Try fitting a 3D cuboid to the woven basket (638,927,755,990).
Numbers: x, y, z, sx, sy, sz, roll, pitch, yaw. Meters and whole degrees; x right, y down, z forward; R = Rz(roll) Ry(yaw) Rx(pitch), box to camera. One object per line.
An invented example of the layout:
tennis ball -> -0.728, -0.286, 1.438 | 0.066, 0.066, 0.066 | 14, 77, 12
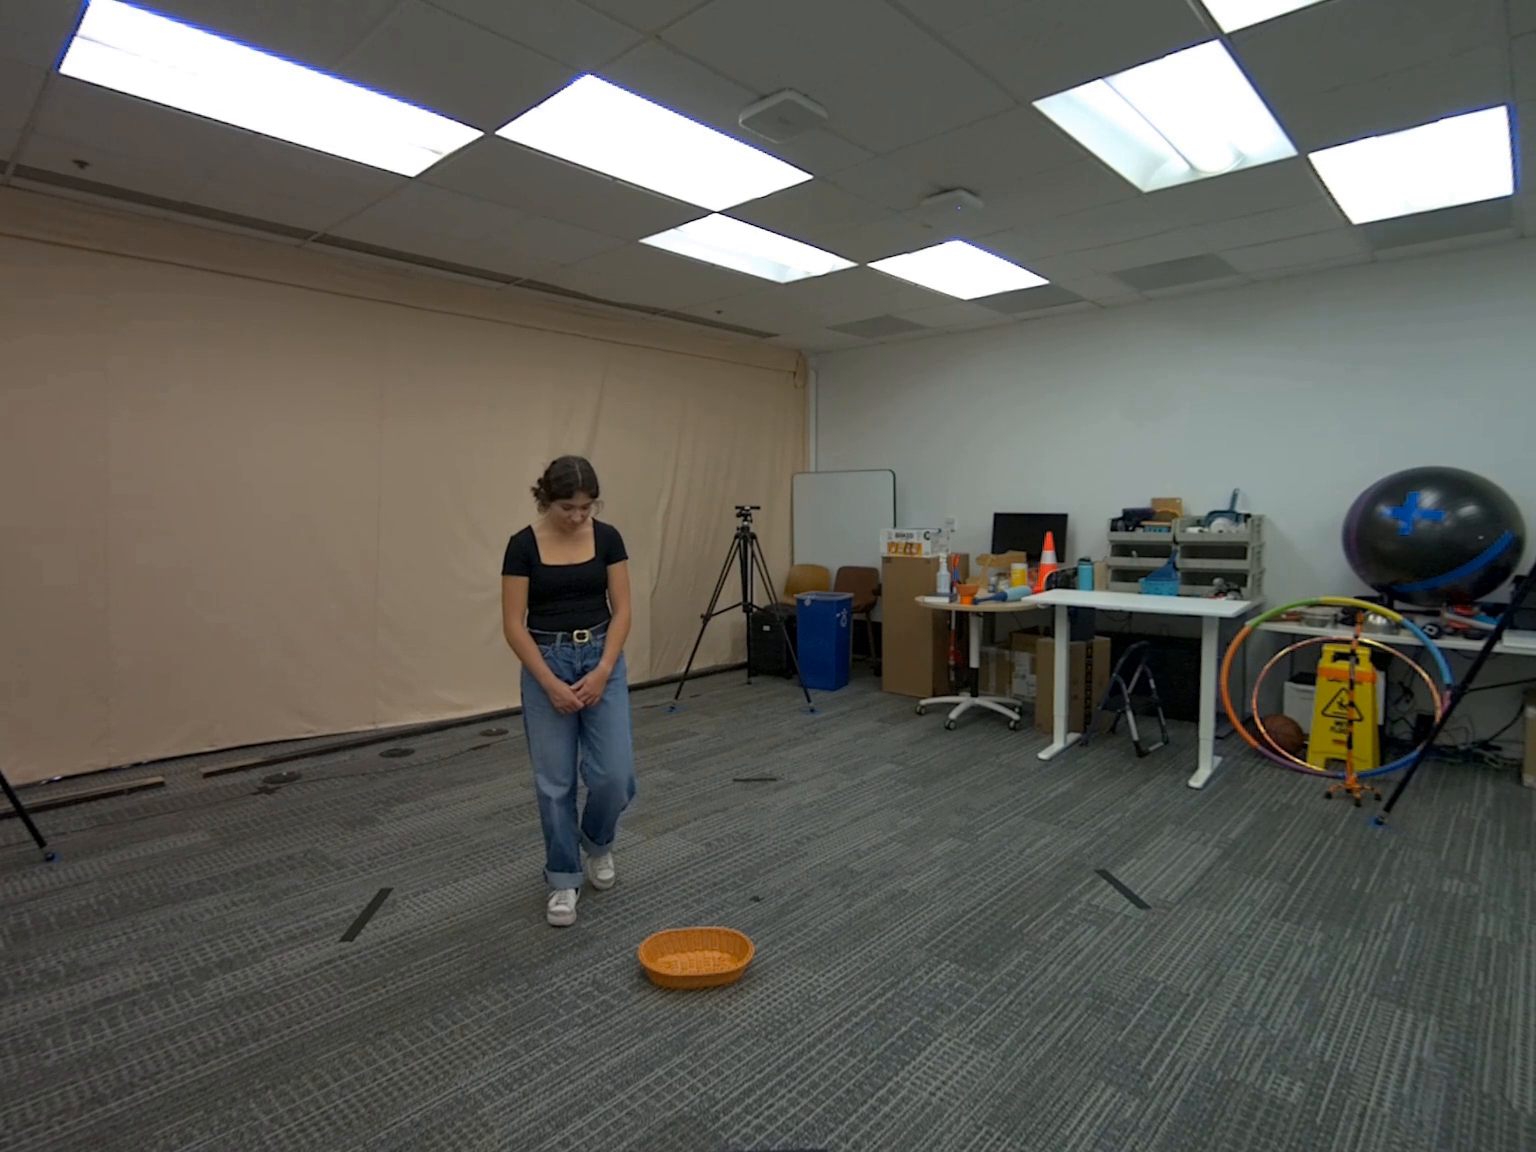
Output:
woven basket -> -0.212, 1.148, 2.511 | 0.348, 0.073, 0.255 | 0, 6, -7
